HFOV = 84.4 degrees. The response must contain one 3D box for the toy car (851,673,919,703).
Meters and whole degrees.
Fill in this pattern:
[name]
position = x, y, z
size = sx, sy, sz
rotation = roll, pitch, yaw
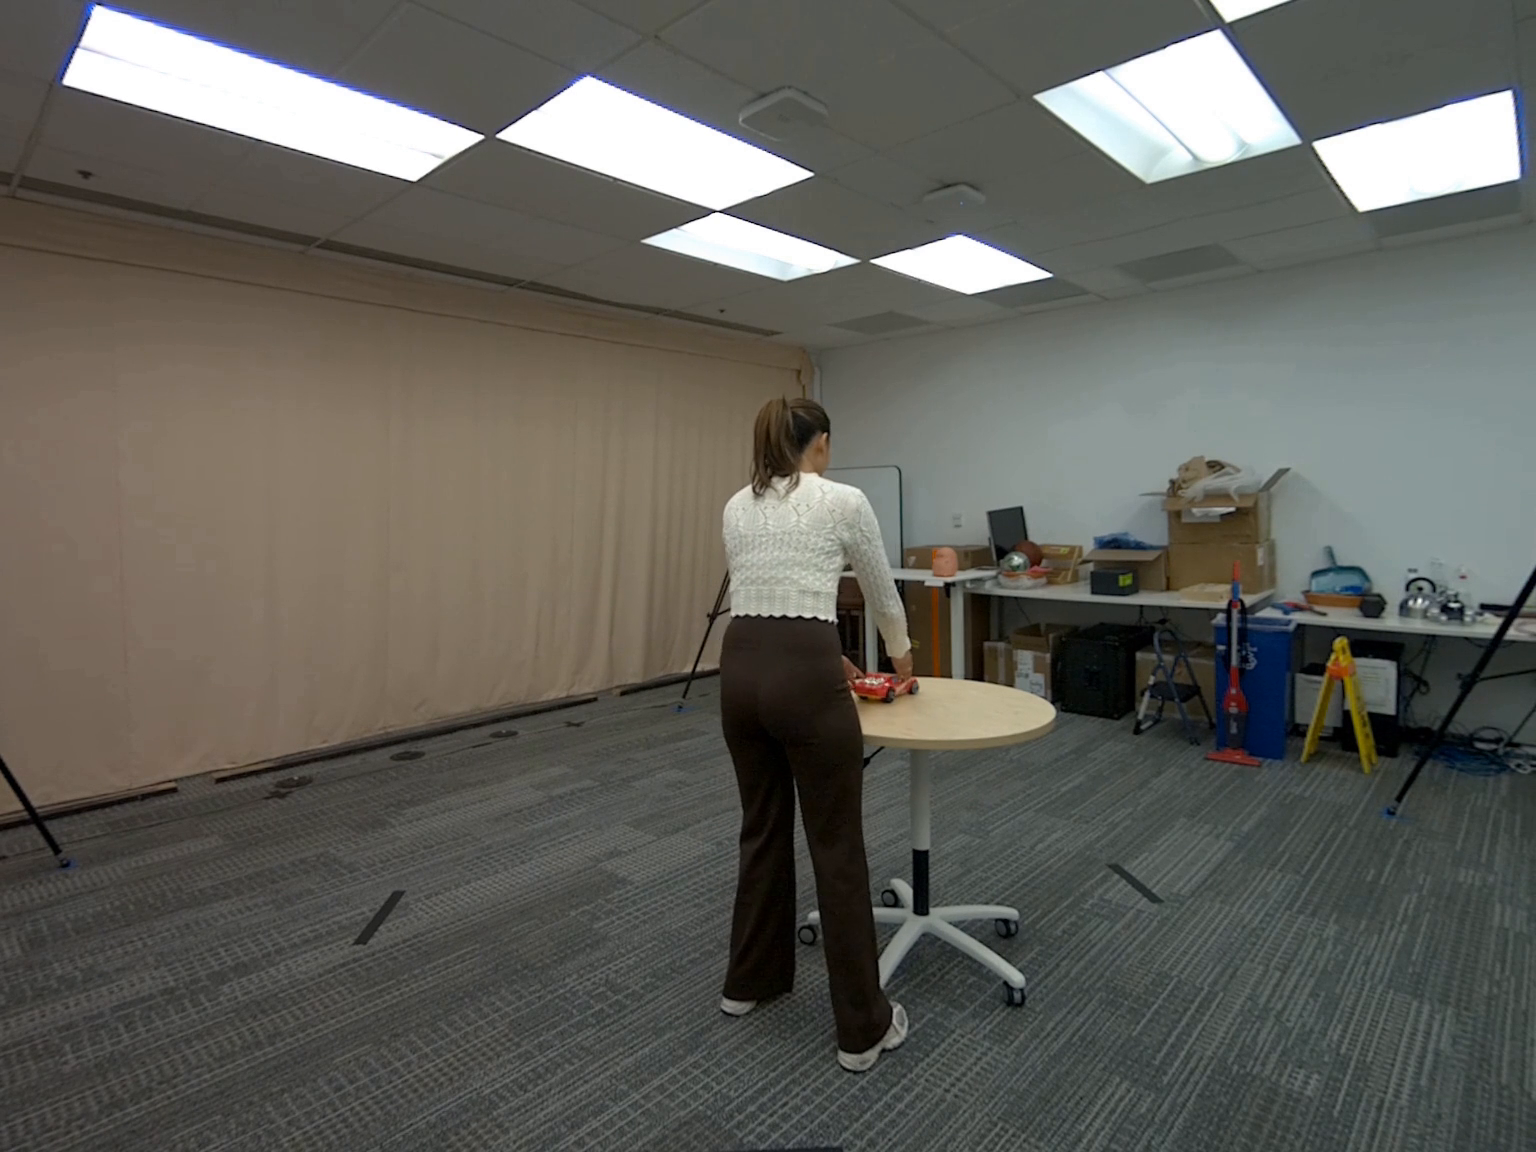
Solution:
[toy car]
position = 0.371, 0.350, 2.618
size = 0.134, 0.083, 0.246
rotation = 2, -5, 41
